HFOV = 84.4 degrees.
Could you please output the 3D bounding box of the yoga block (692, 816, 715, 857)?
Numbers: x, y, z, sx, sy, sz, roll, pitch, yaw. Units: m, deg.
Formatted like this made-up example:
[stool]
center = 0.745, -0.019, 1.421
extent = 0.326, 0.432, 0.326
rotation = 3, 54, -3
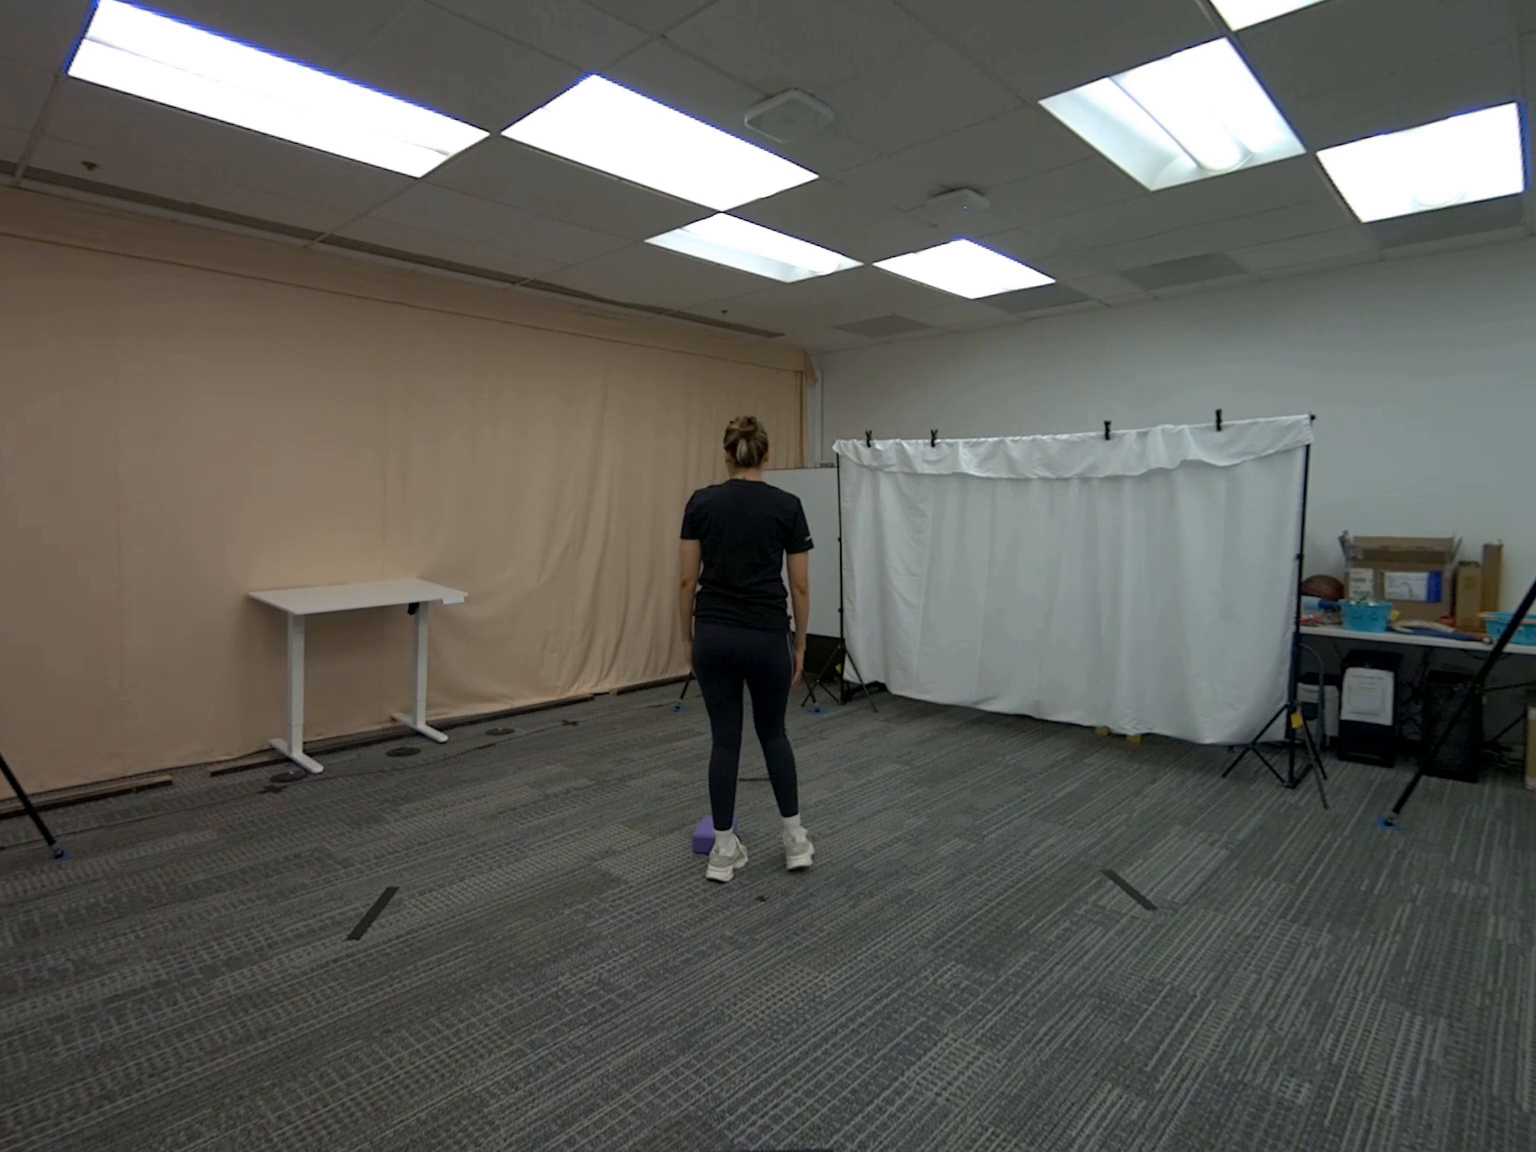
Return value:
[yoga block]
center = -0.220, 1.065, 3.463
extent = 0.150, 0.076, 0.228
rotation = 0, 5, 8
